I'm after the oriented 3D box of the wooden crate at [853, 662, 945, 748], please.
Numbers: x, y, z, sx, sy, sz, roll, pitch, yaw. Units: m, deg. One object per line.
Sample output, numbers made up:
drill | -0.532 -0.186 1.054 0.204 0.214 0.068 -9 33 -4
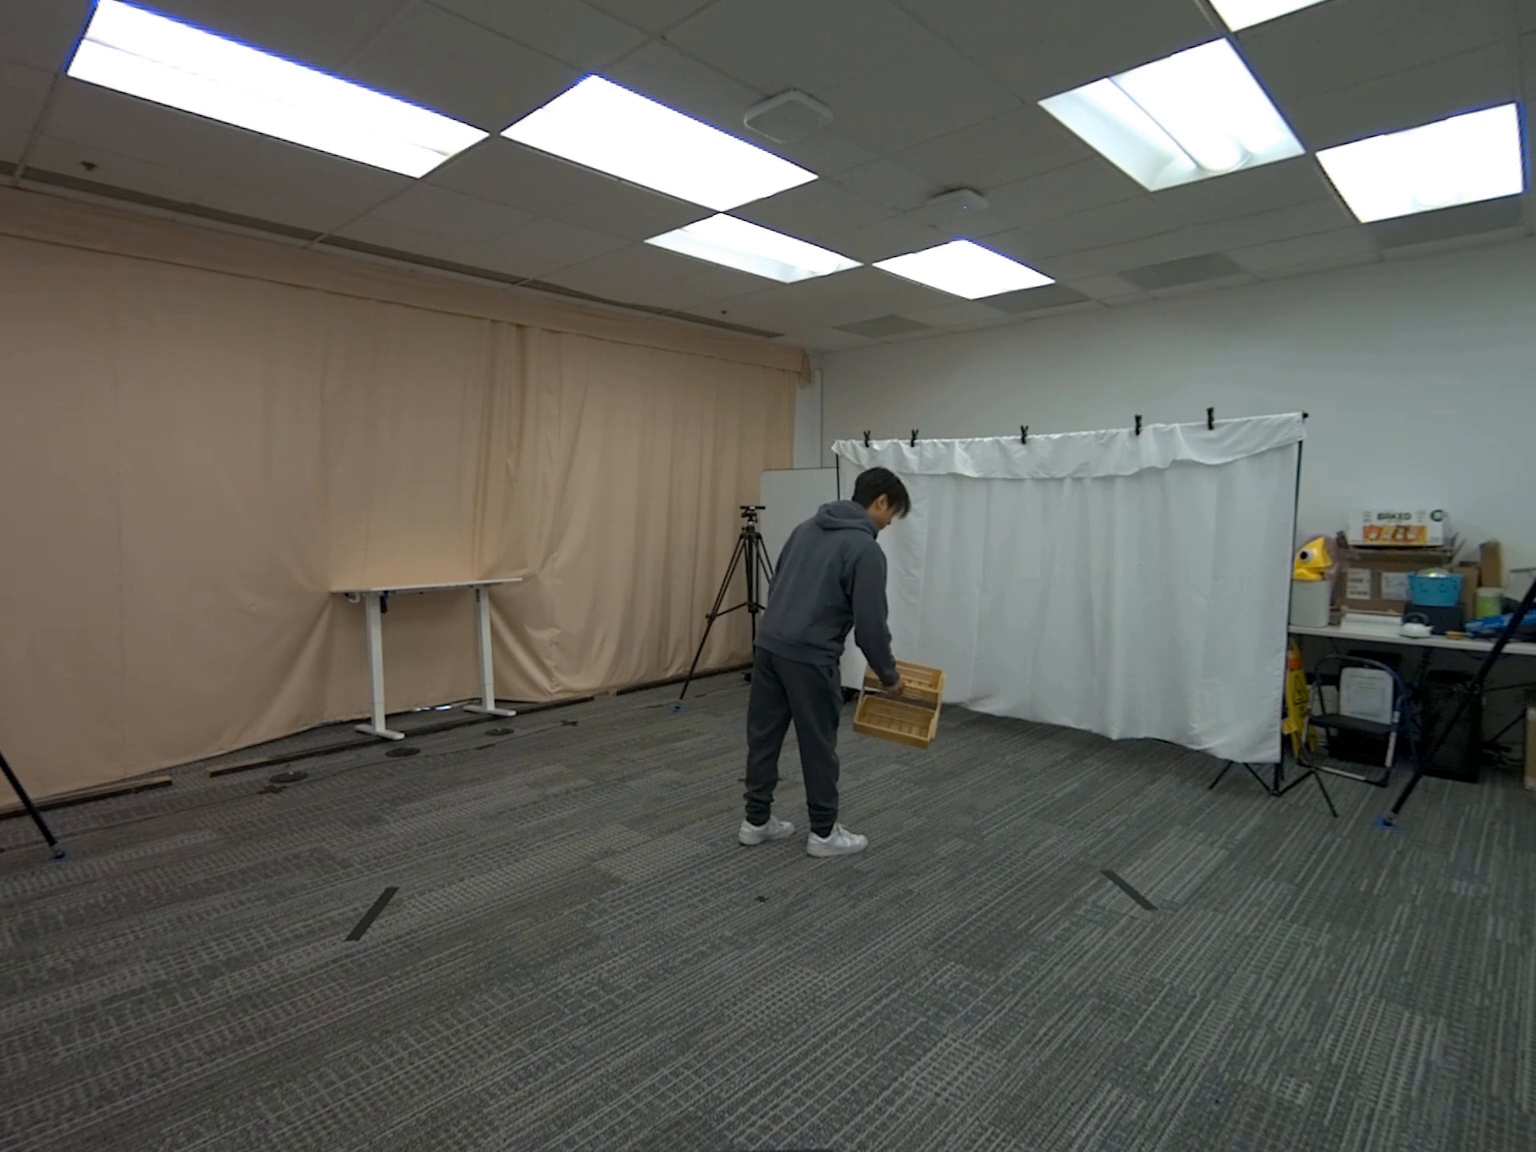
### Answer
wooden crate | 0.541 0.508 3.444 0.331 0.272 0.297 10 10 17
